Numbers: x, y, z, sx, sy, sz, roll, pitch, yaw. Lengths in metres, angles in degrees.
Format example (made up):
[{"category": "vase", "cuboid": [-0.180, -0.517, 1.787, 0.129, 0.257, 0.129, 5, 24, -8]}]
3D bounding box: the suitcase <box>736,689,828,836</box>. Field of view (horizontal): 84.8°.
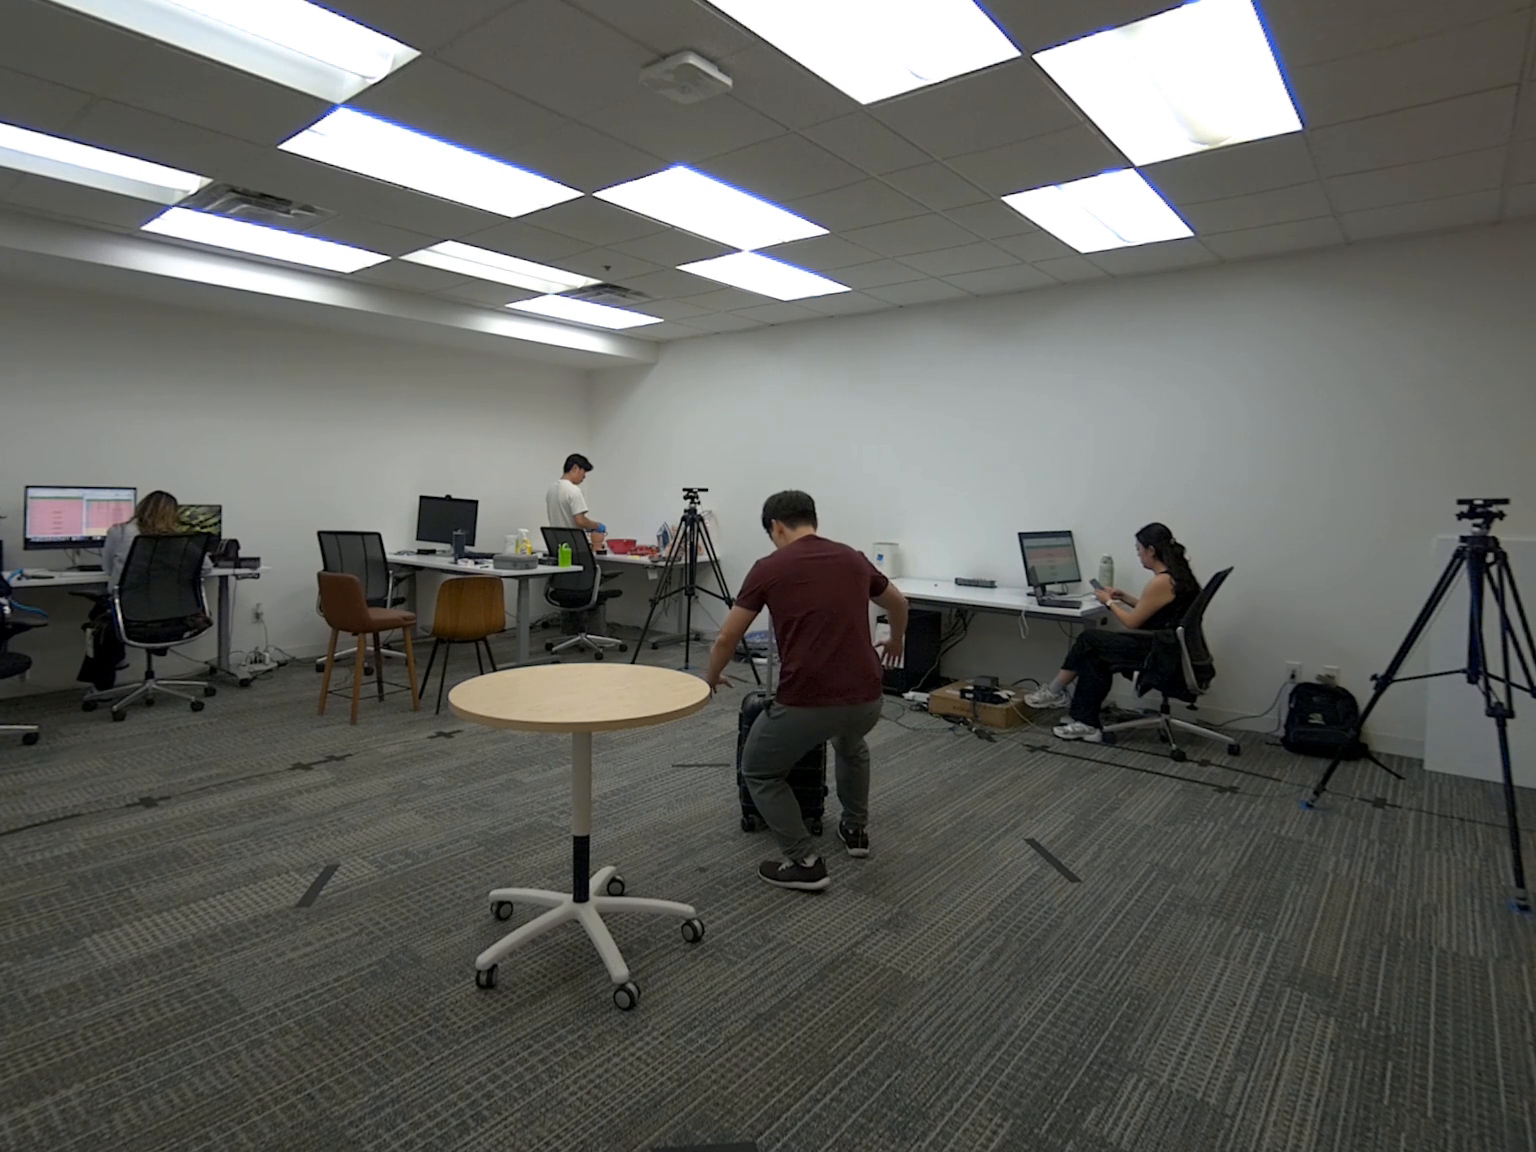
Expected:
[{"category": "suitcase", "cuboid": [0.056, 0.557, 3.567, 0.385, 0.978, 0.256, 1, 1, 3]}]
